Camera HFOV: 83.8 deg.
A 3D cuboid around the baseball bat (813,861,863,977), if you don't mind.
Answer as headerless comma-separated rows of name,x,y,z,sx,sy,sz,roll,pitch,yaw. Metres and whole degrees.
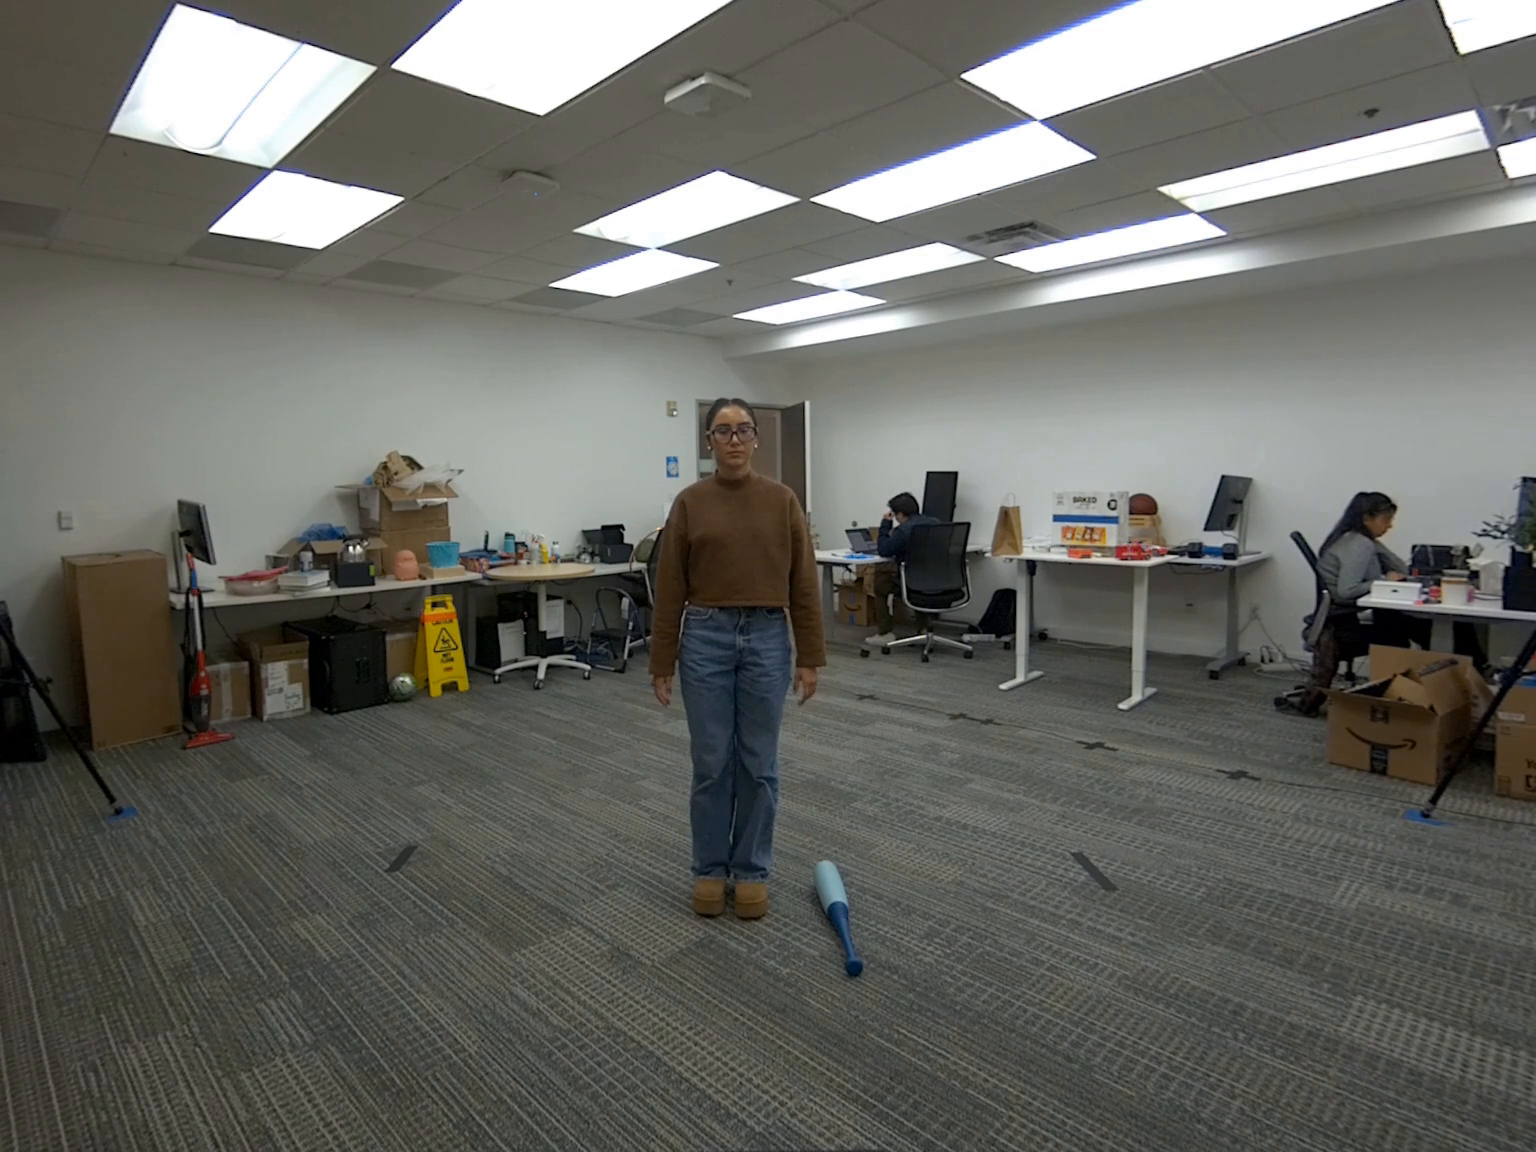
baseball bat,0.227,1.056,2.650,0.089,0.088,0.548,-1,9,-4
